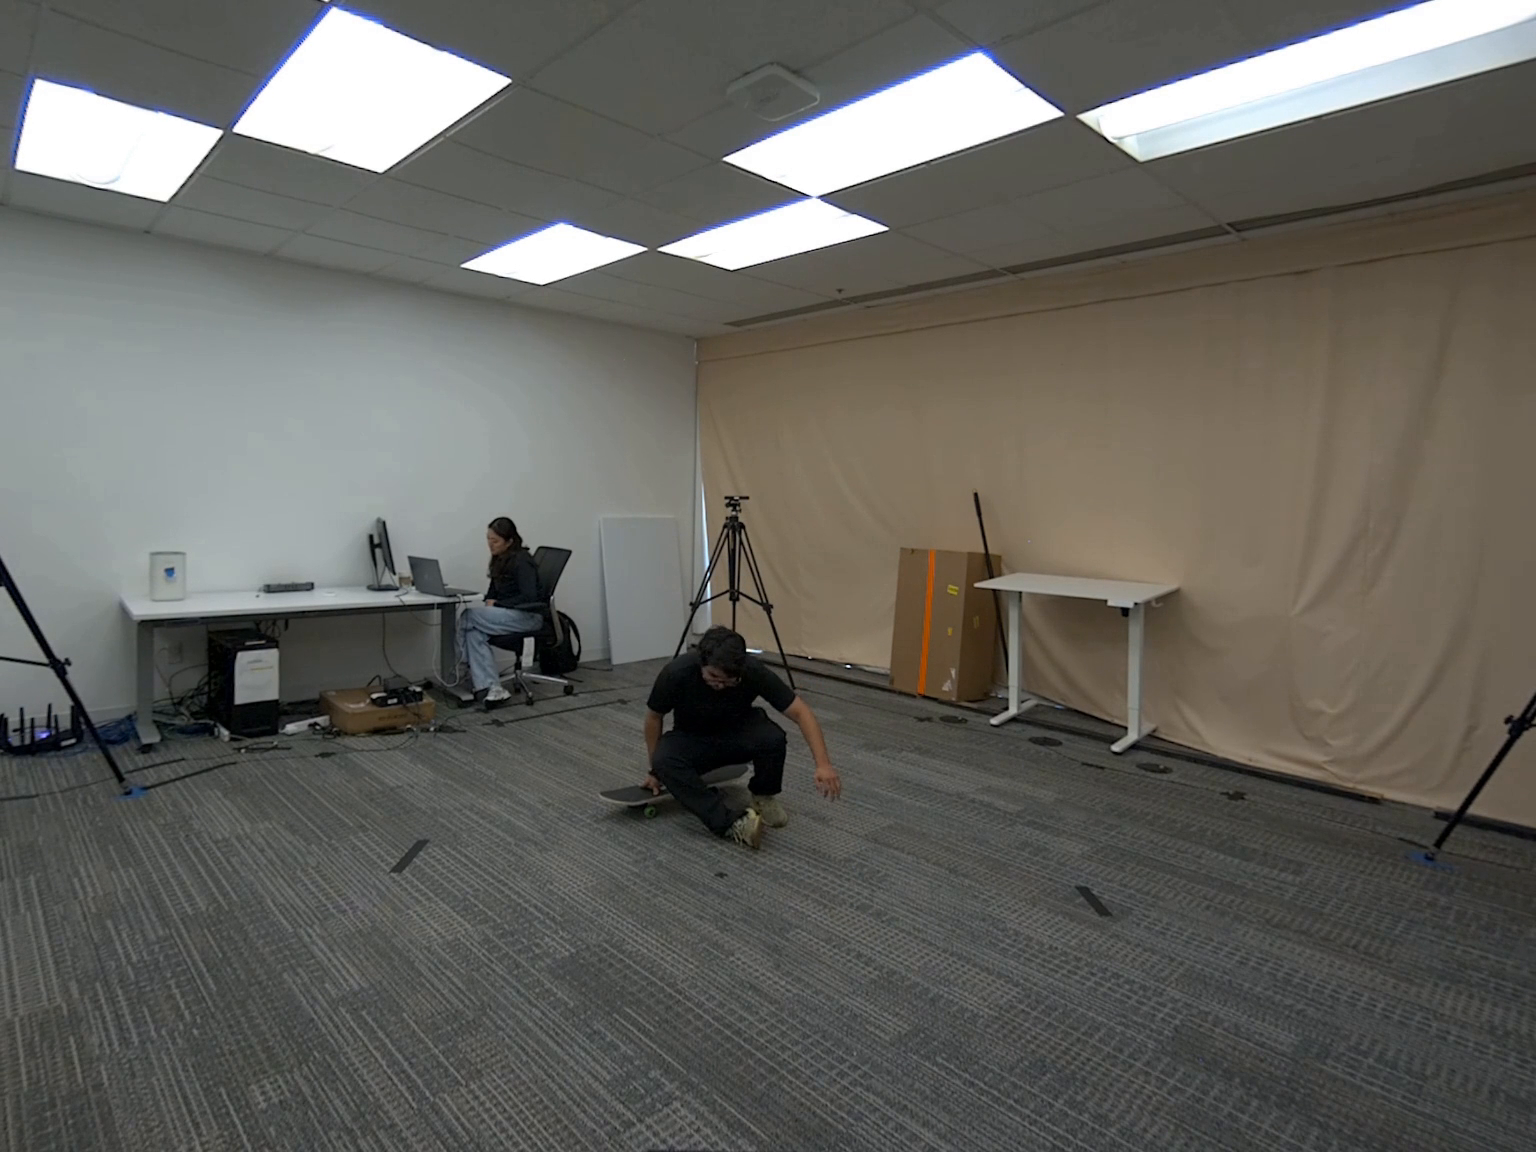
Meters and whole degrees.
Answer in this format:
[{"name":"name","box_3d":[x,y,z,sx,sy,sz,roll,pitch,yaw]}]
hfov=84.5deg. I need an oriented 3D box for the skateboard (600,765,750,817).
[{"name":"skateboard","box_3d":[-0.419,0.975,3.823,0.767,0.110,0.198,-2,4,-40]}]
